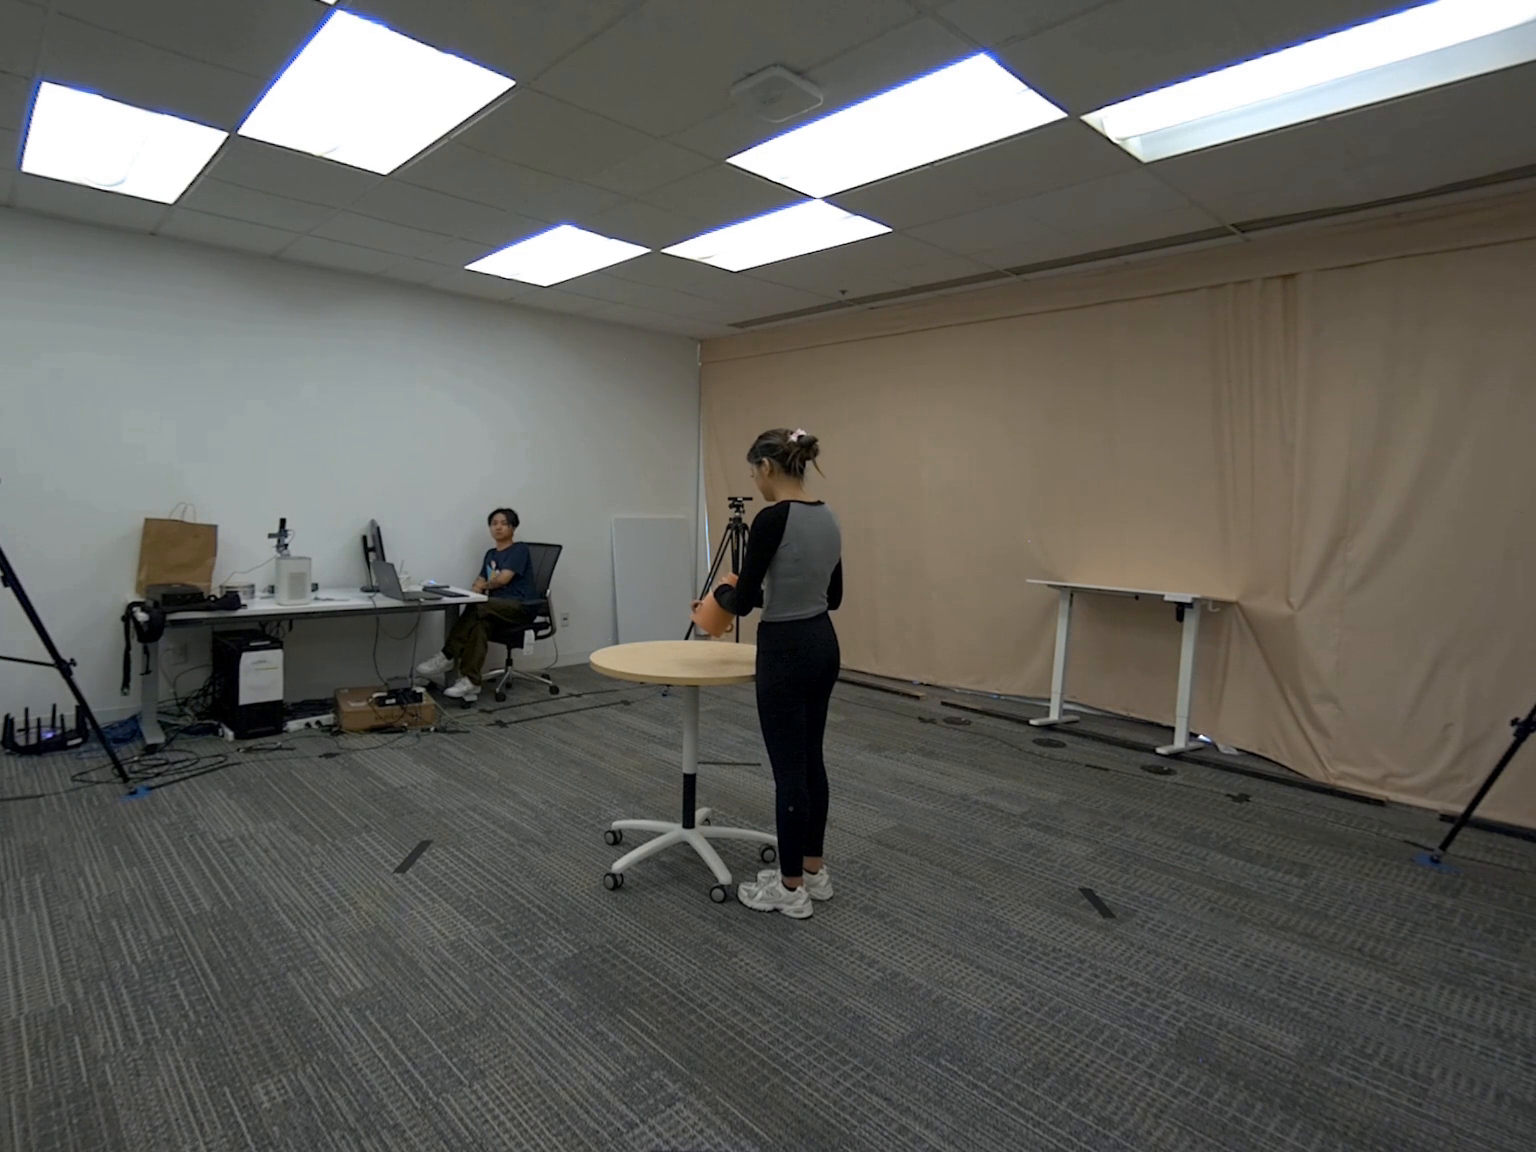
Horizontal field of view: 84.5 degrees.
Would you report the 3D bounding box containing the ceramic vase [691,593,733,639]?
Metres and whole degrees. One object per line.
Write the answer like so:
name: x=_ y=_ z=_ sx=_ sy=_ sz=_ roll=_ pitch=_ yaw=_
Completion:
ceramic vase: x=-0.175 y=0.099 z=3.067 sx=0.138 sy=0.219 sz=0.155 roll=38 pitch=3 yaw=23
